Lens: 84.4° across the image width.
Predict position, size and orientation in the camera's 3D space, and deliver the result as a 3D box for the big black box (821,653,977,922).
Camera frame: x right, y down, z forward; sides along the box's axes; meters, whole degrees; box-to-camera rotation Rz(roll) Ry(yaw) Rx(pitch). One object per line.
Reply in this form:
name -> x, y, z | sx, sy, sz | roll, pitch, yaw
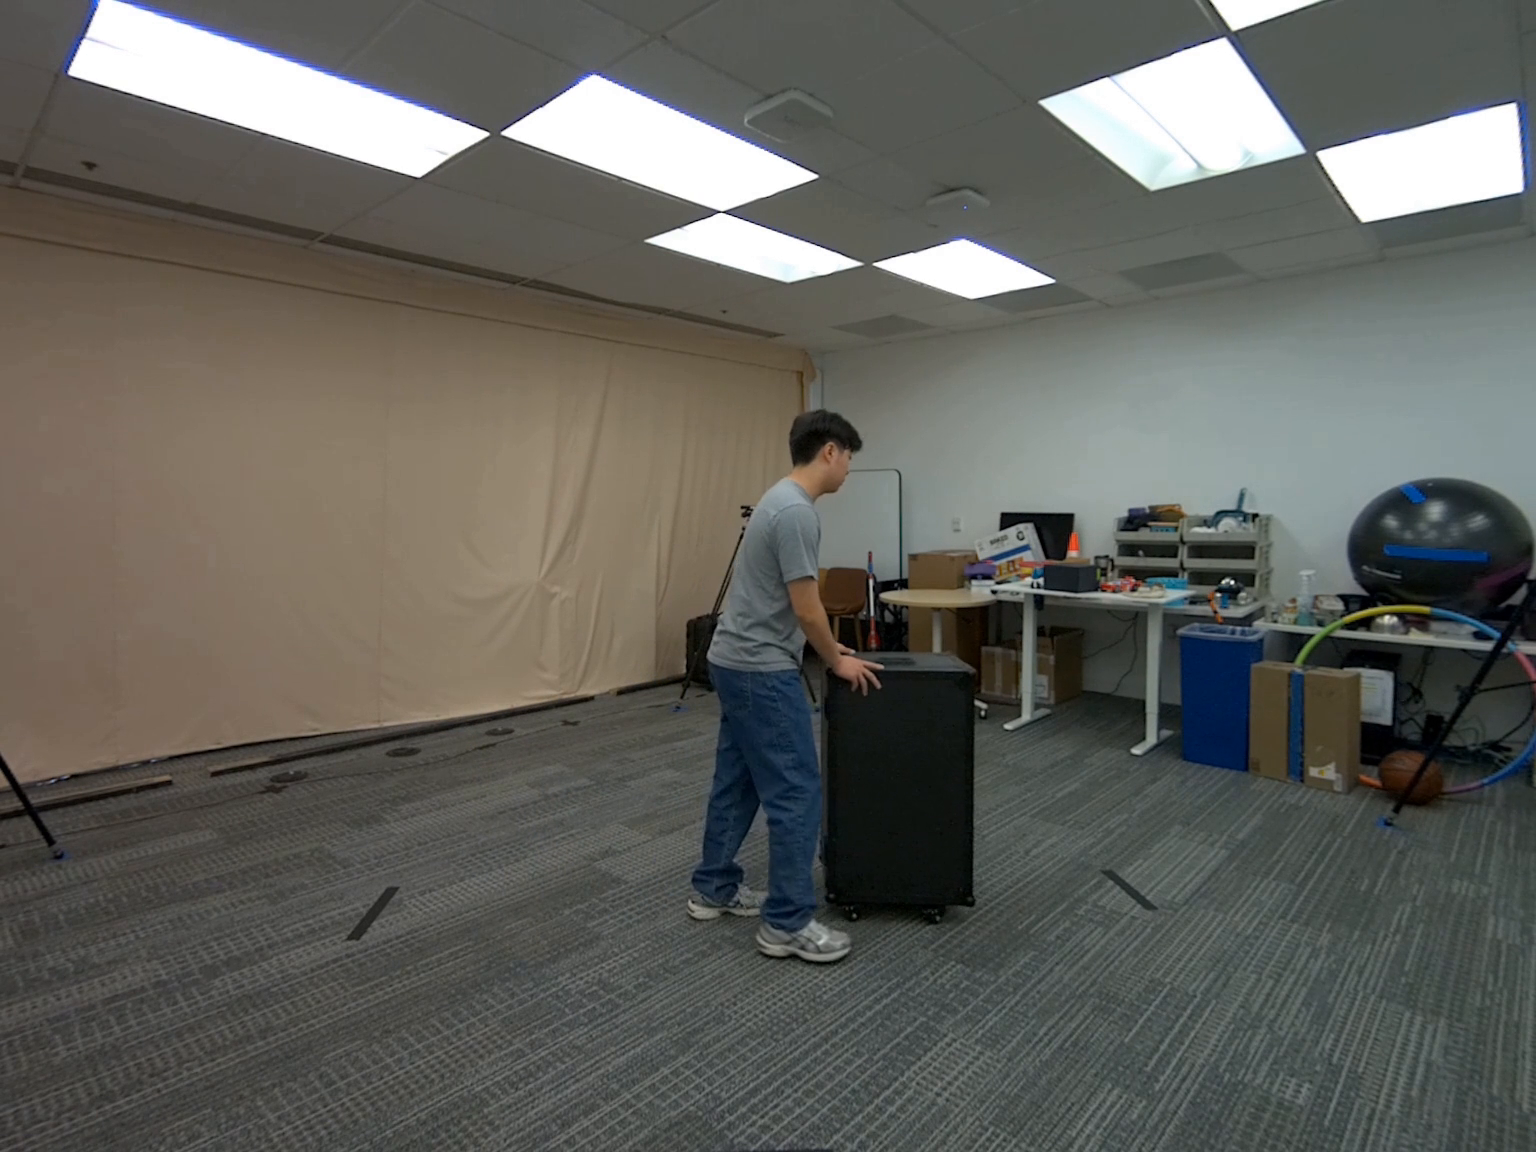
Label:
big black box -> 0.435, 0.723, 2.957 | 0.523, 0.860, 0.396 | 0, 2, 2
